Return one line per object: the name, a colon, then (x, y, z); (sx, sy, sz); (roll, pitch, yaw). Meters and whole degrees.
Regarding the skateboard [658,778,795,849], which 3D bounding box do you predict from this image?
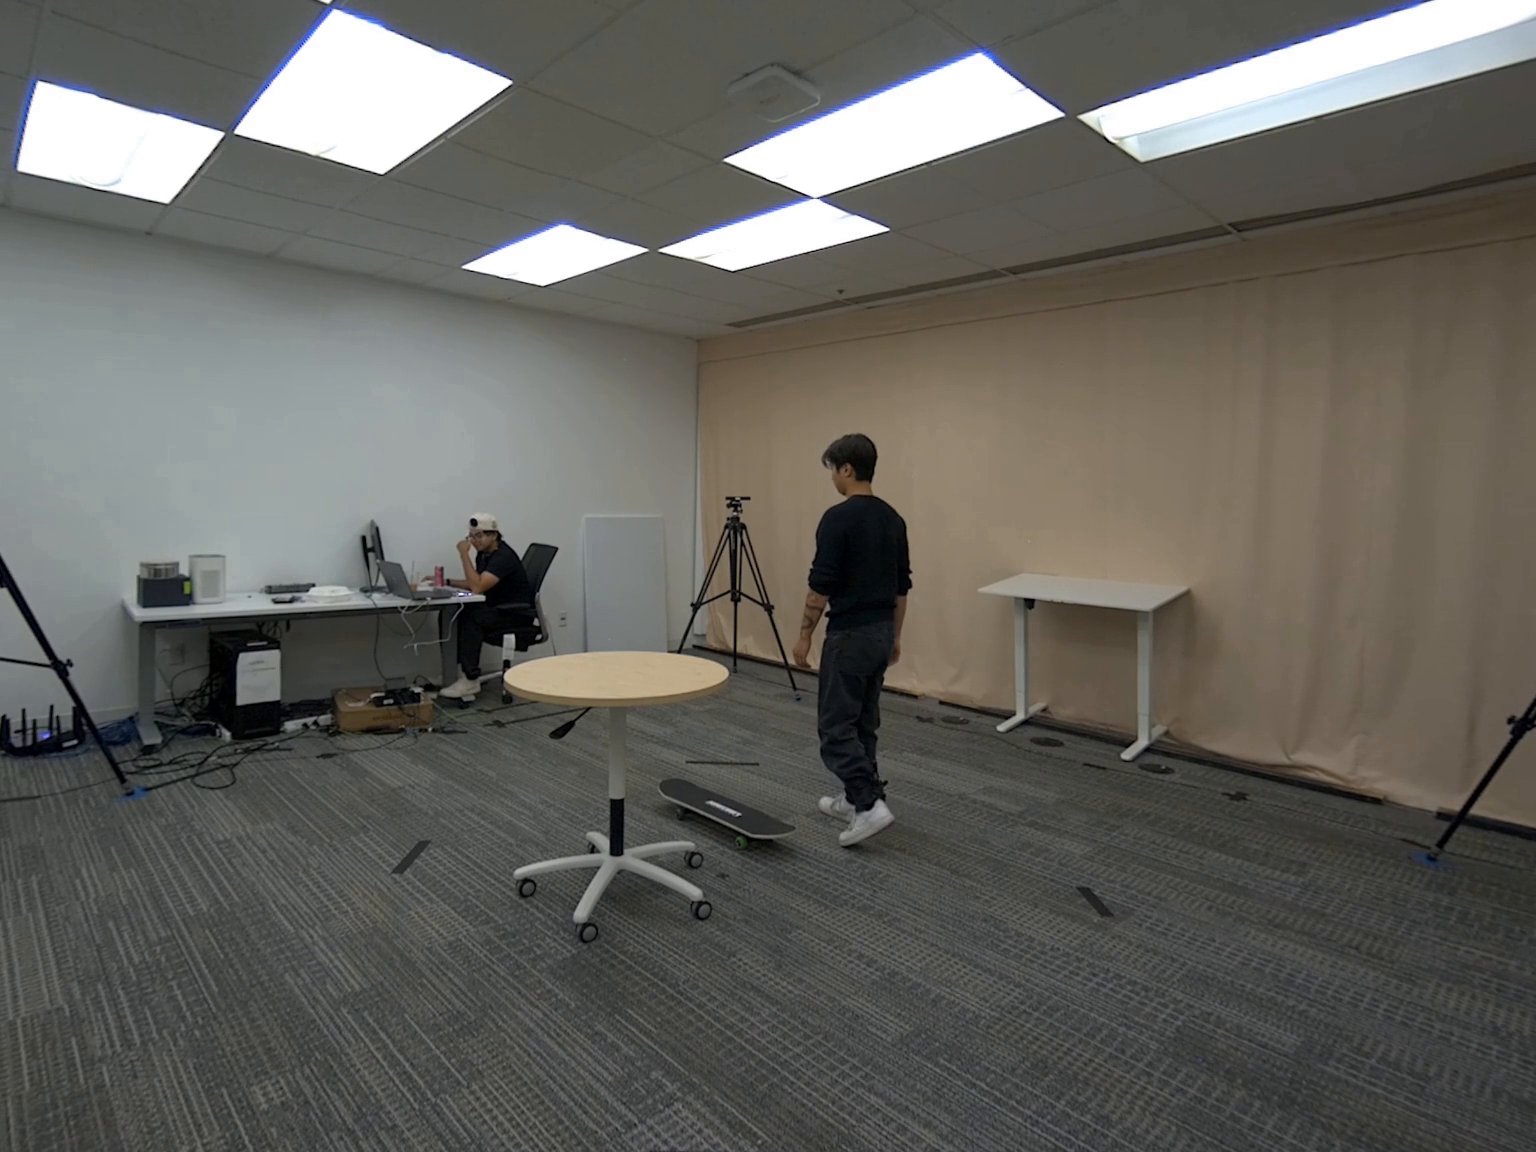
skateboard: (-0.191, 1.011, 3.549); (0.189, 0.110, 0.806); (-3, 6, -42)
